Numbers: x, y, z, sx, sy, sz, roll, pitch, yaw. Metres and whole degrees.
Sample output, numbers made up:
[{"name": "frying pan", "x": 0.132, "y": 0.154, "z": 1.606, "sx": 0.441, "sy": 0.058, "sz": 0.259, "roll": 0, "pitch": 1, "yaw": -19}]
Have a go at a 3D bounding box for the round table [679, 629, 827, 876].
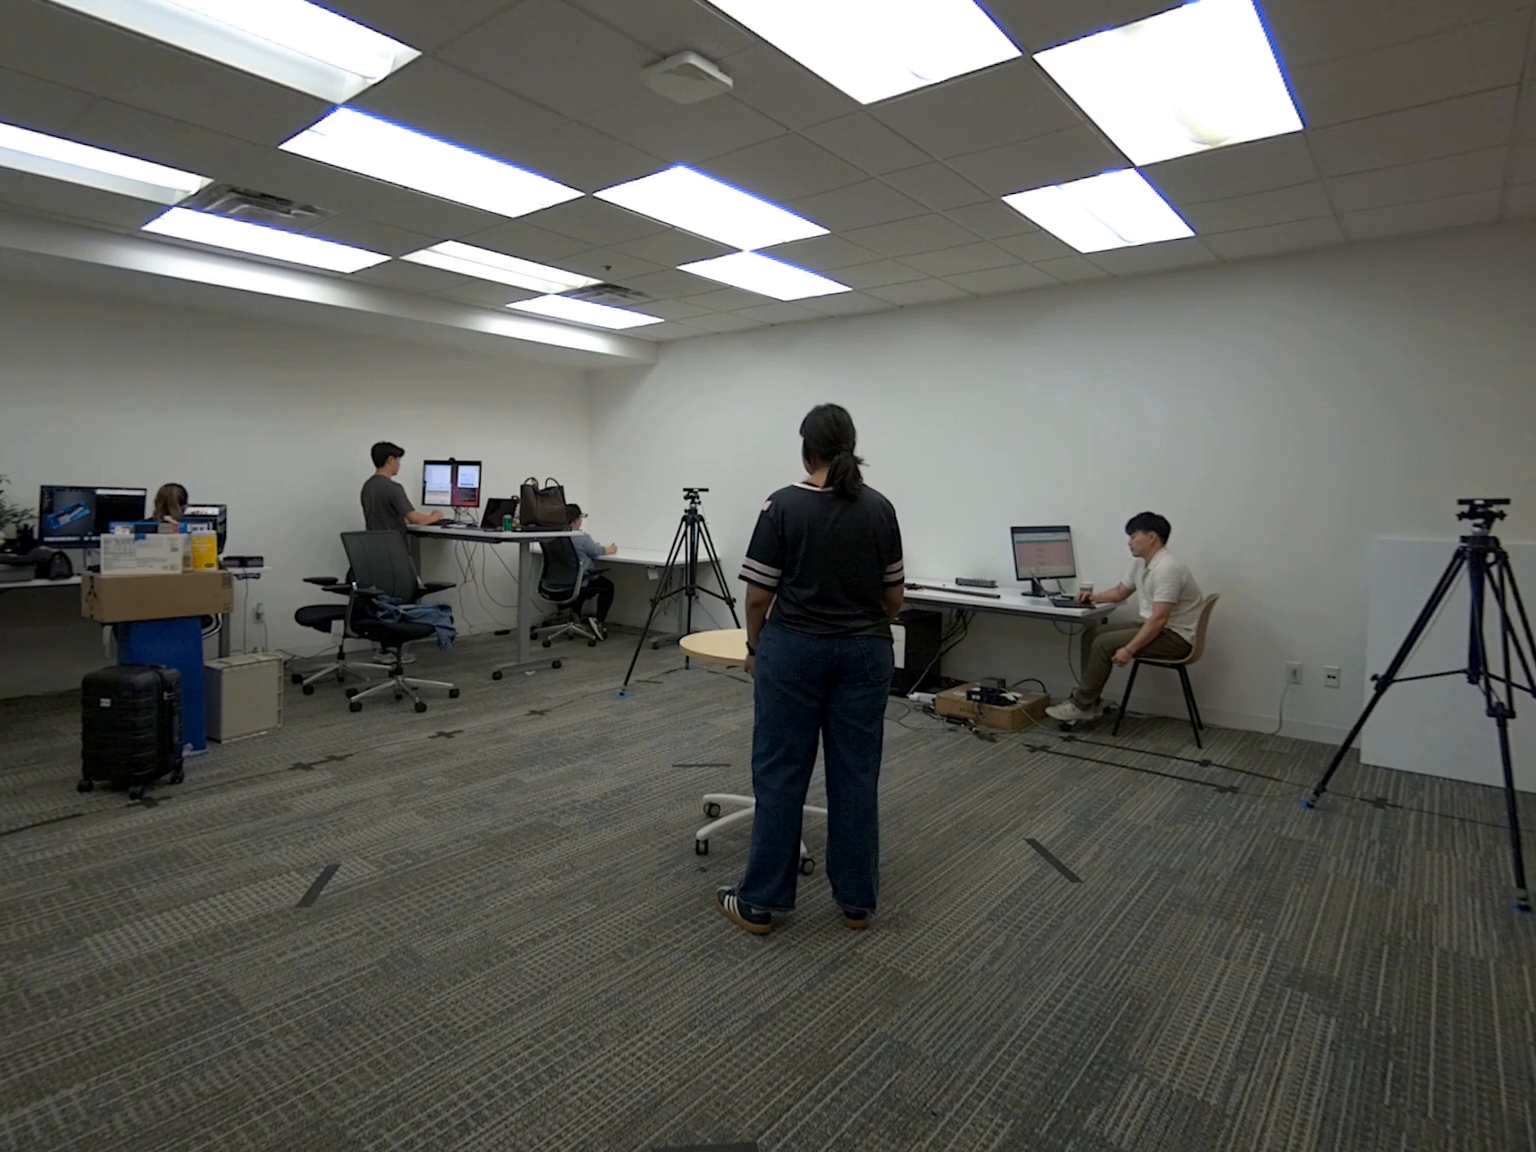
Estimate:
[{"name": "round table", "x": 0.009, "y": 0.657, "z": 3.387, "sx": 0.763, "sy": 0.792, "sz": 0.767, "roll": 1, "pitch": 3, "yaw": -2}]
